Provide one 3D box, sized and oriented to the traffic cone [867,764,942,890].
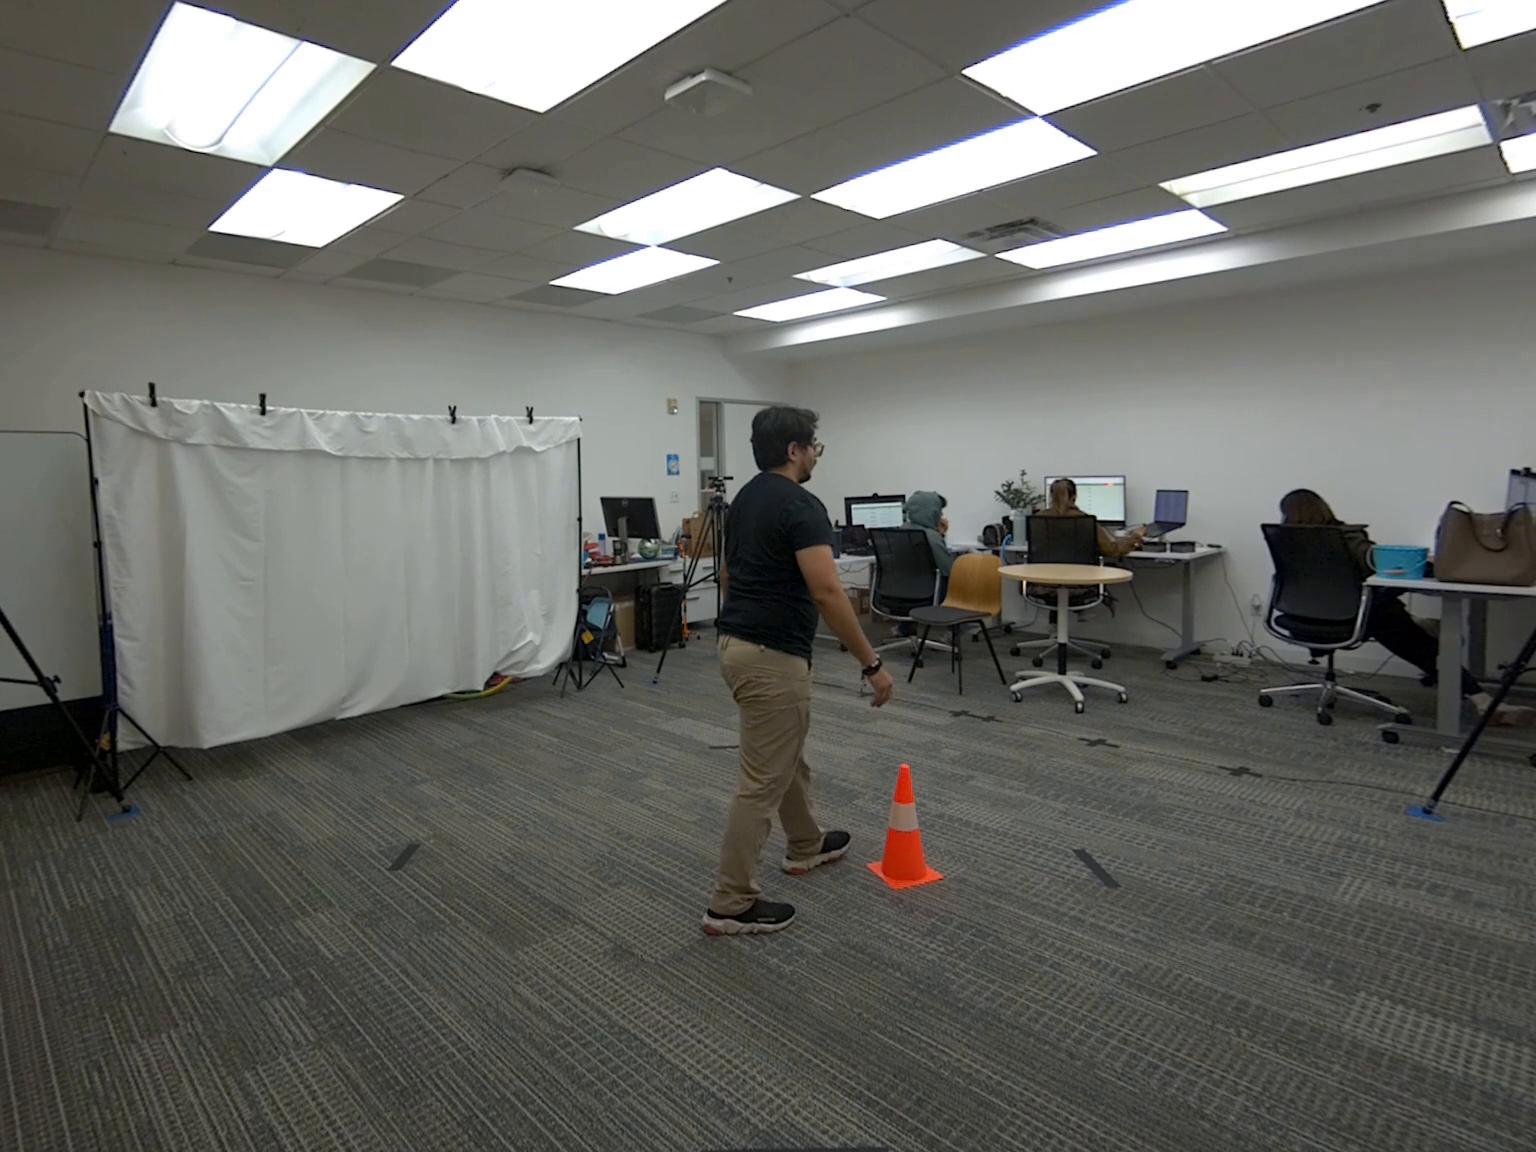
[{"bbox_3d":[0.477,0.852,2.986,0.201,0.382,0.207,-3,5,-20],"label":"traffic cone"}]
